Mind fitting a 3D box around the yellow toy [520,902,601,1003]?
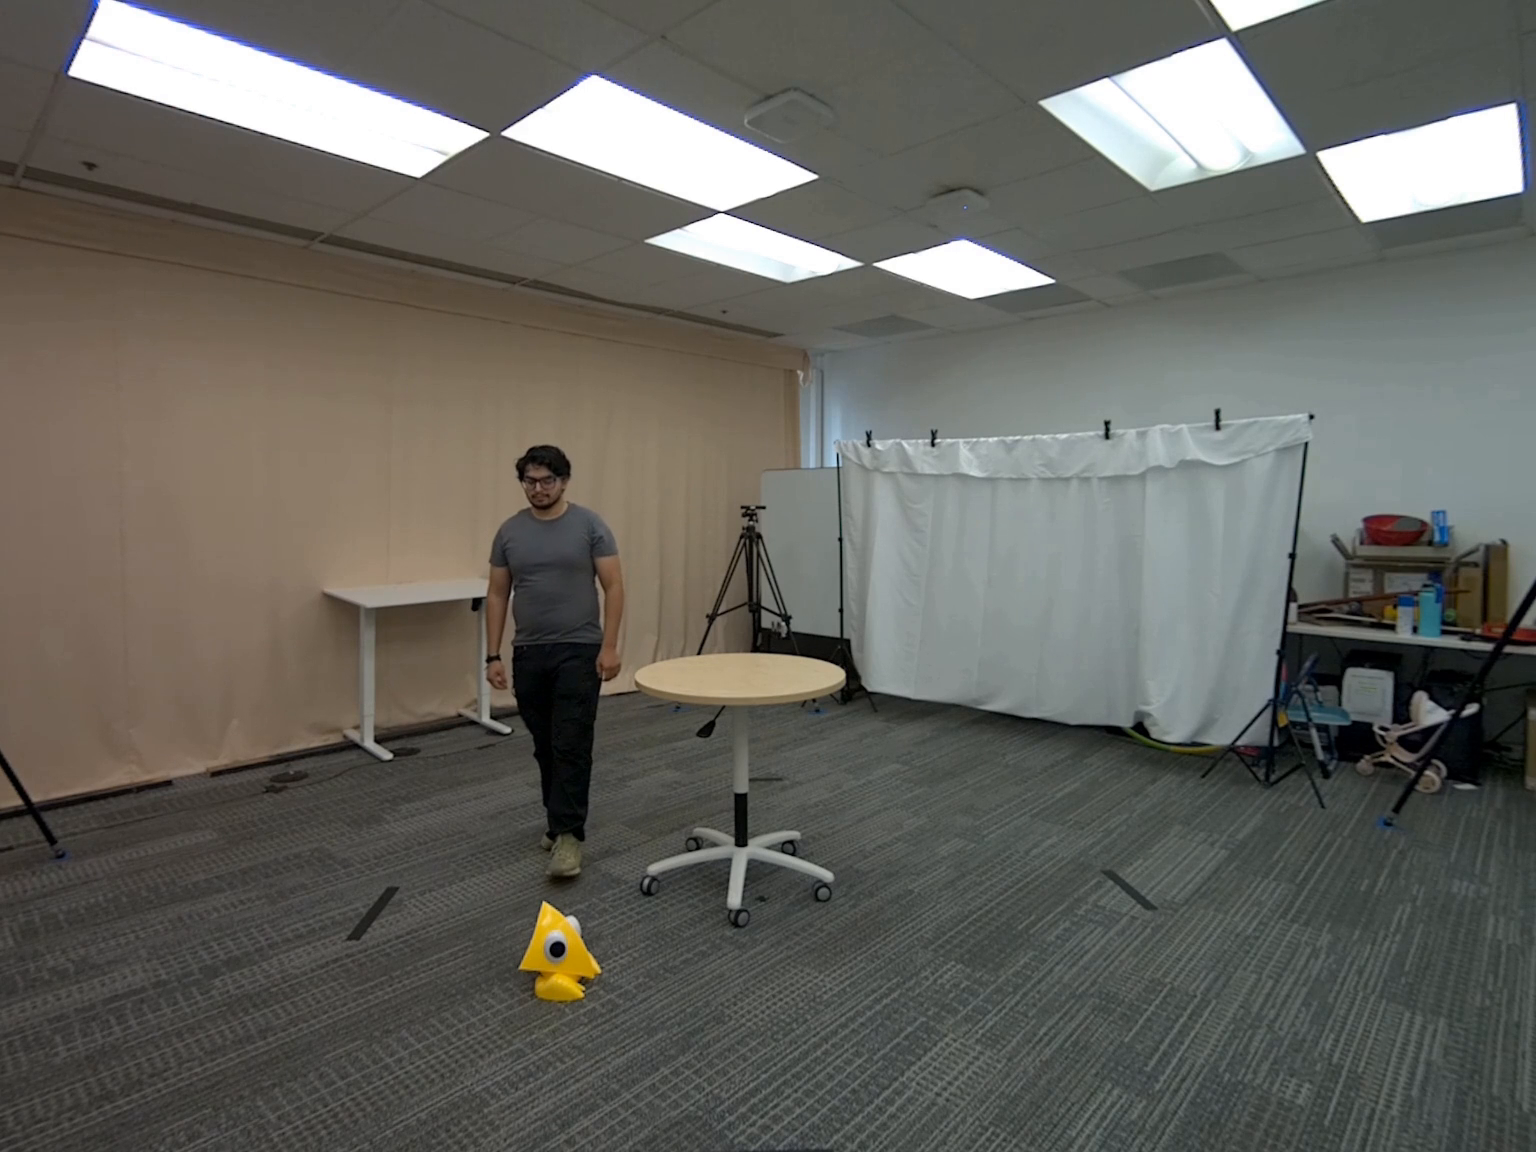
[{"bbox_3d":[-0.600,1.079,2.464,0.196,0.230,0.202,-1,3,13],"label":"yellow toy"}]
